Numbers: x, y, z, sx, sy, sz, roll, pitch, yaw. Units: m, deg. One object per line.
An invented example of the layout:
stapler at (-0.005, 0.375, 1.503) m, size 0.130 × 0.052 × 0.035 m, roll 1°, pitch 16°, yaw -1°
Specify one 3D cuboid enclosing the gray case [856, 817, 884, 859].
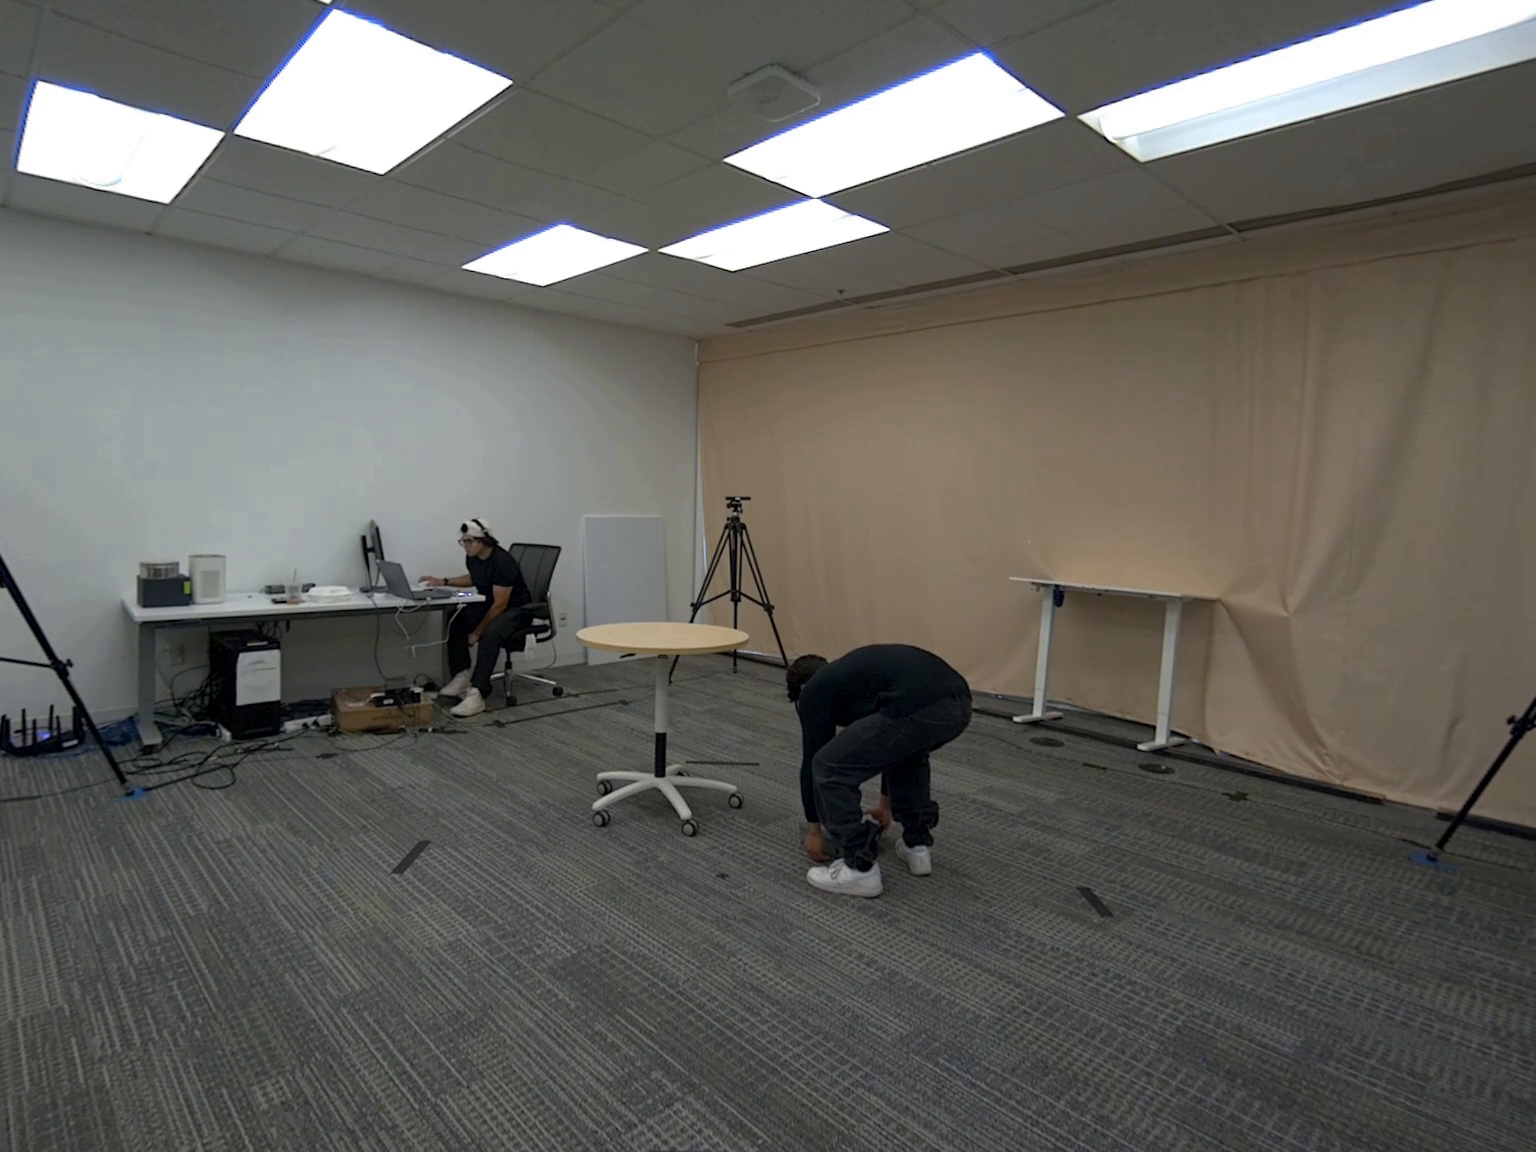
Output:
gray case at (0.299, 1.033, 3.405) m, size 0.267 × 0.104 × 0.251 m, roll 7°, pitch 5°, yaw 44°
